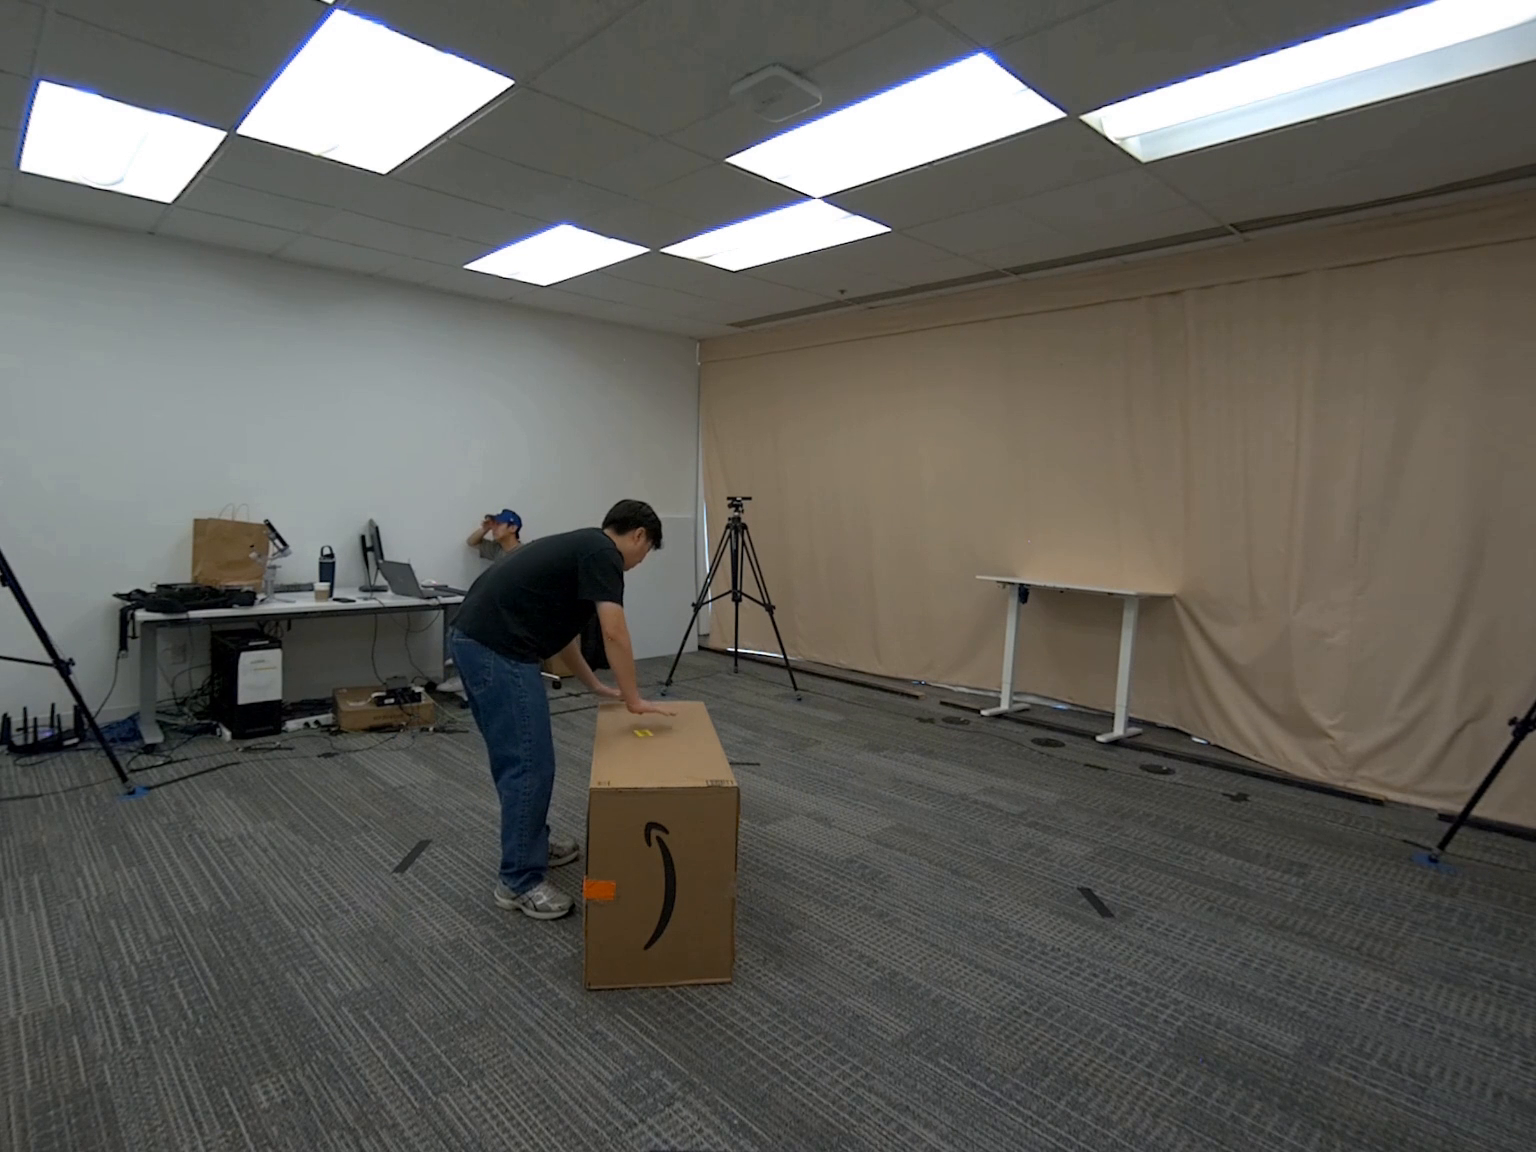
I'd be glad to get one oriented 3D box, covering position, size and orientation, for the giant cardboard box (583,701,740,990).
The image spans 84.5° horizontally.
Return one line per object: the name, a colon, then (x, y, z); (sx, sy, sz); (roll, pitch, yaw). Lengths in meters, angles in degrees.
giant cardboard box: (-0.391, 0.834, 2.878); (0.443, 0.582, 1.037); (0, 4, -10)
